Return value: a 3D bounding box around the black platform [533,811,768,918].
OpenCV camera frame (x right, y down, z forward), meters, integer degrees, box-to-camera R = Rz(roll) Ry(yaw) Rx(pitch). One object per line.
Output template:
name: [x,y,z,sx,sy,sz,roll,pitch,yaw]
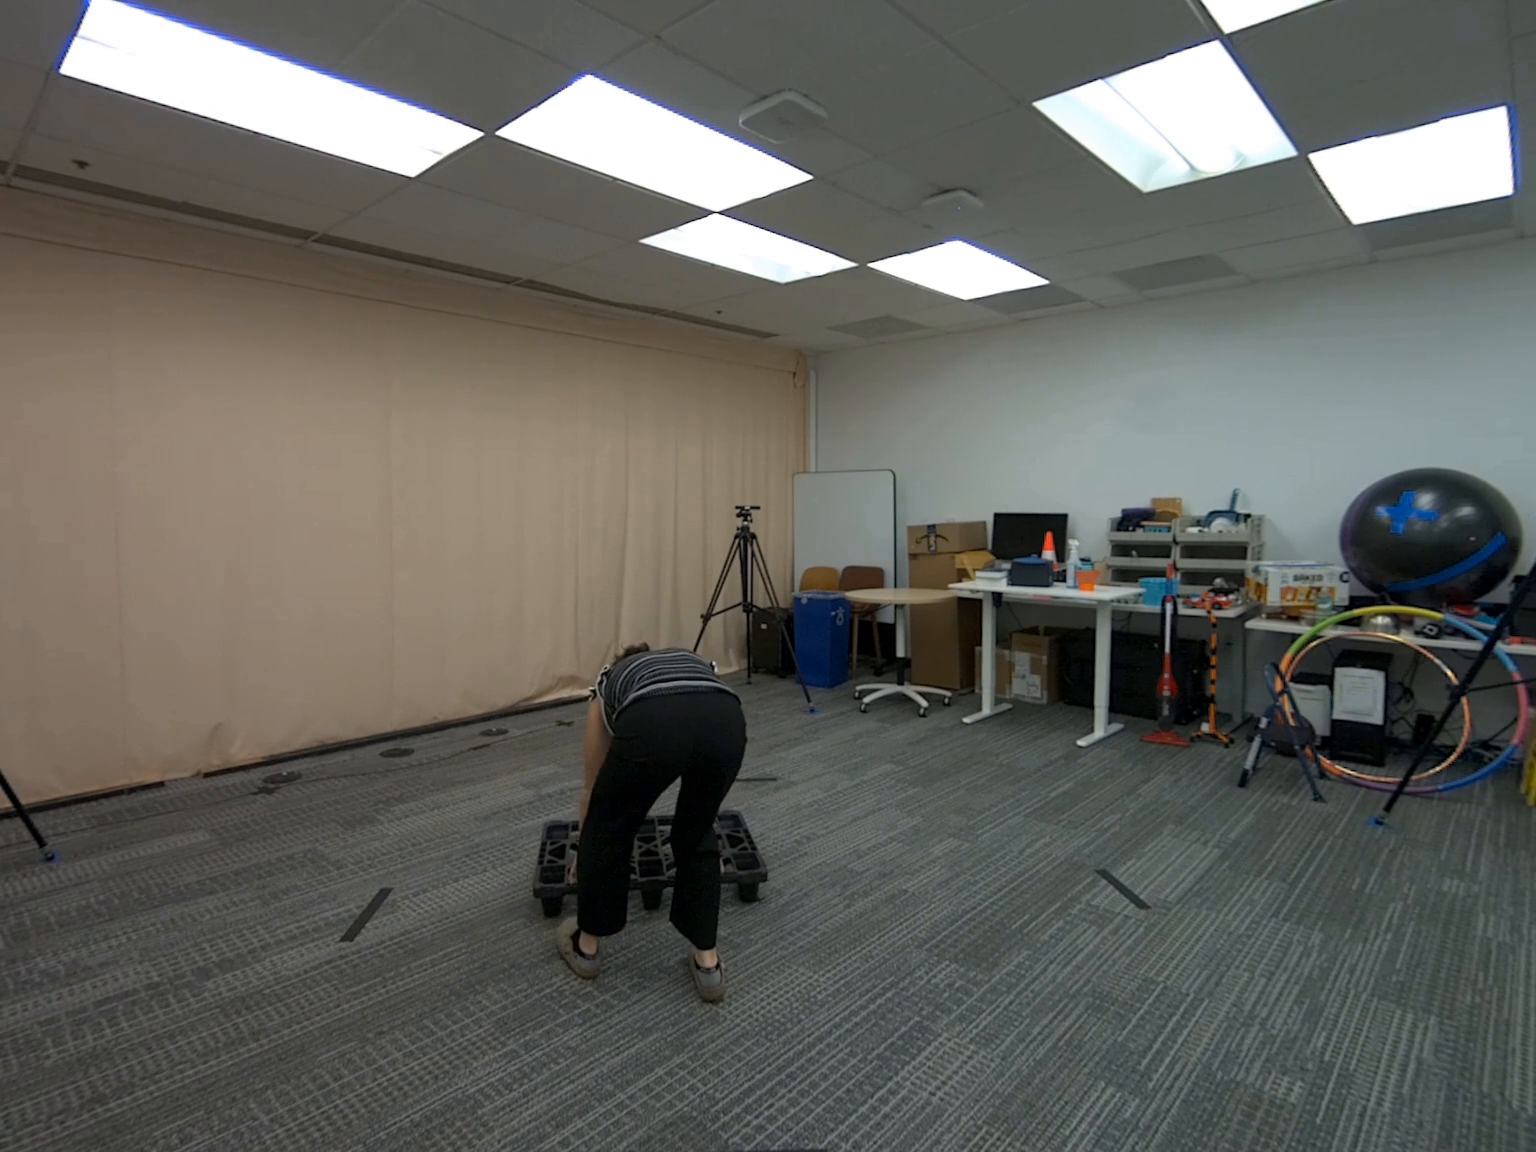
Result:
black platform: [-0.445,1.066,3.138,0.798,0.143,0.612,-1,4,-9]
